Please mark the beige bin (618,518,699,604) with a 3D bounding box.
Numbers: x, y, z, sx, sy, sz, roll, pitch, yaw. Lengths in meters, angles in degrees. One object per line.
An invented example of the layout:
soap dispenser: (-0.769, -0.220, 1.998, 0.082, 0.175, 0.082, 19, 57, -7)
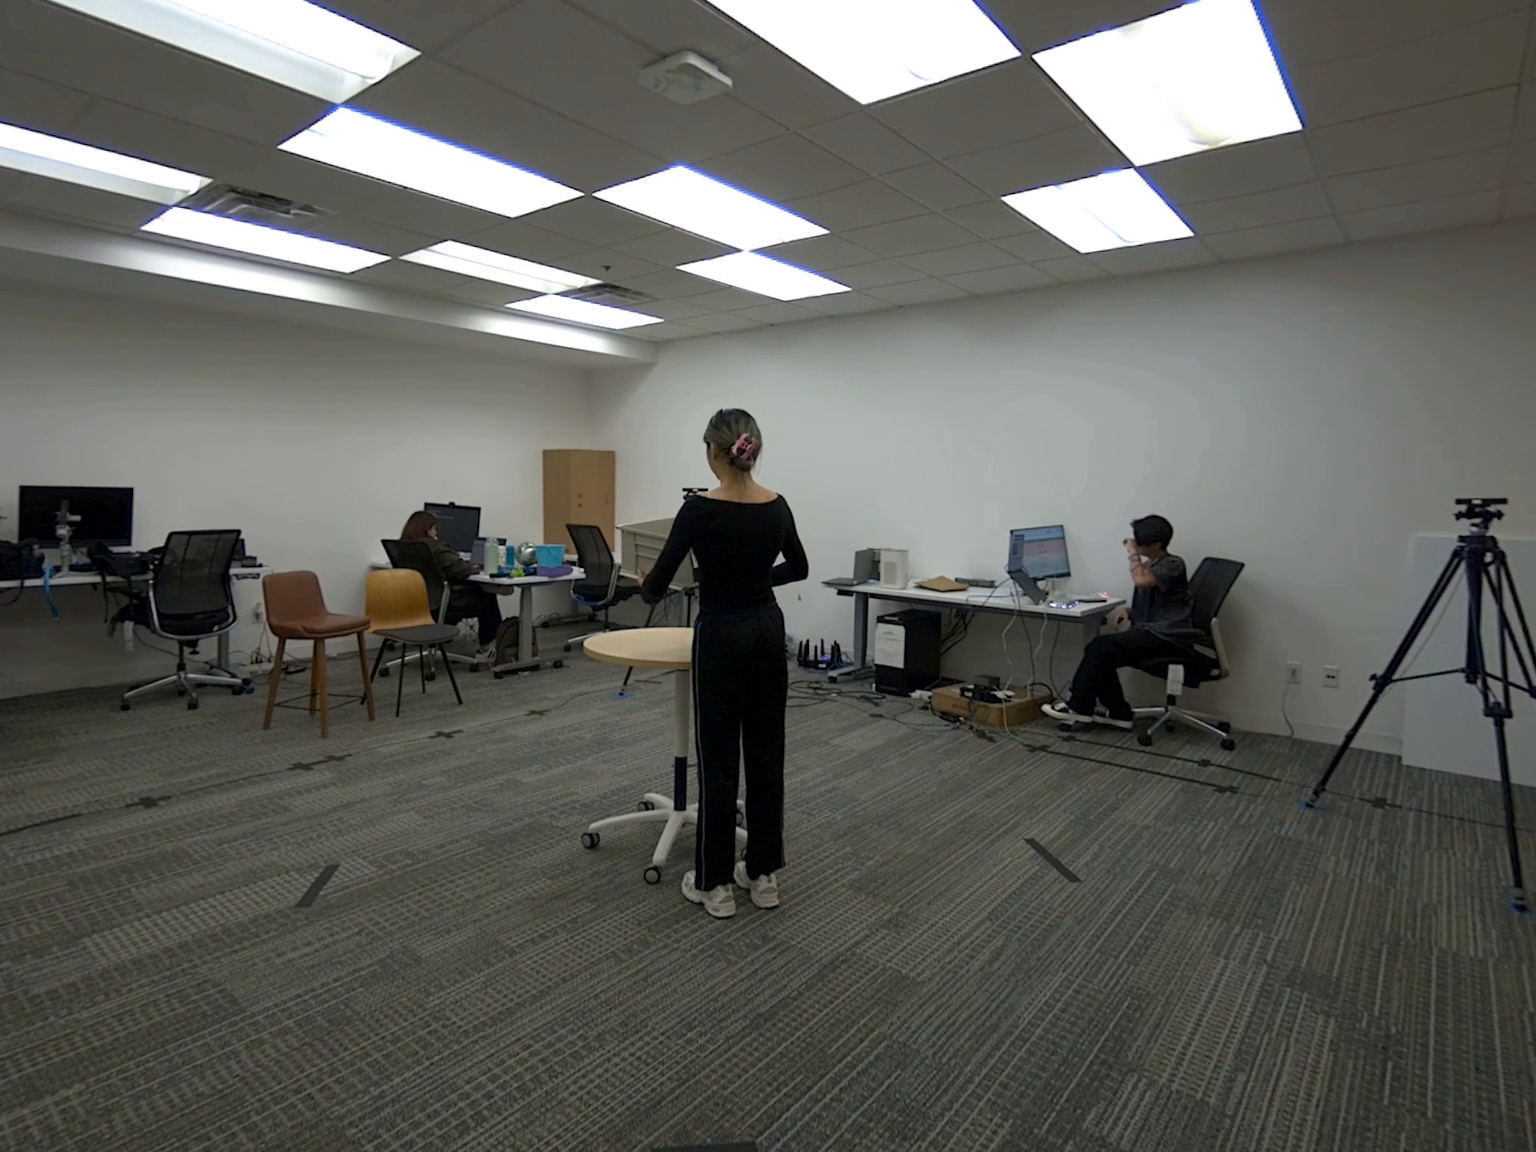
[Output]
beige bin: (-0.284, -0.093, 3.100, 0.391, 0.187, 0.412, 11, 16, 37)
